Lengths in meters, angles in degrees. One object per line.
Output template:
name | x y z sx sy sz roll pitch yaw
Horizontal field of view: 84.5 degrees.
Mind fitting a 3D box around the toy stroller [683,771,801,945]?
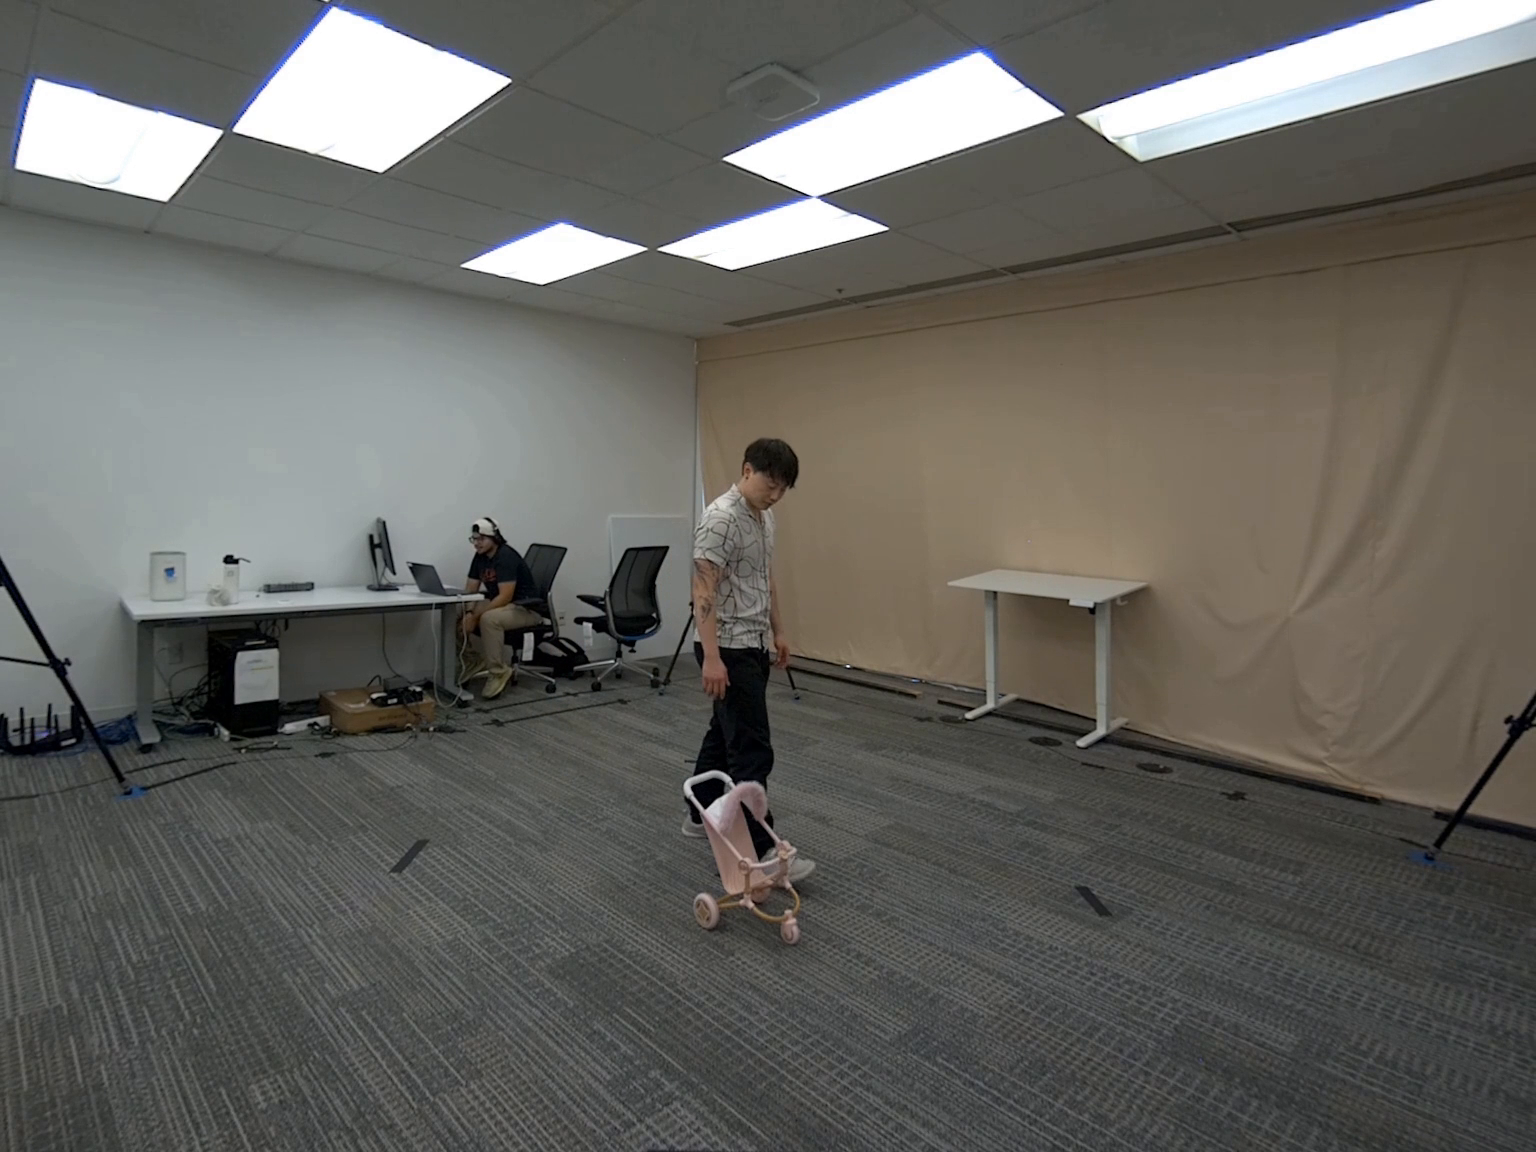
toy stroller | -0.077 0.916 2.752 0.275 0.539 0.347 -3 -10 -44
